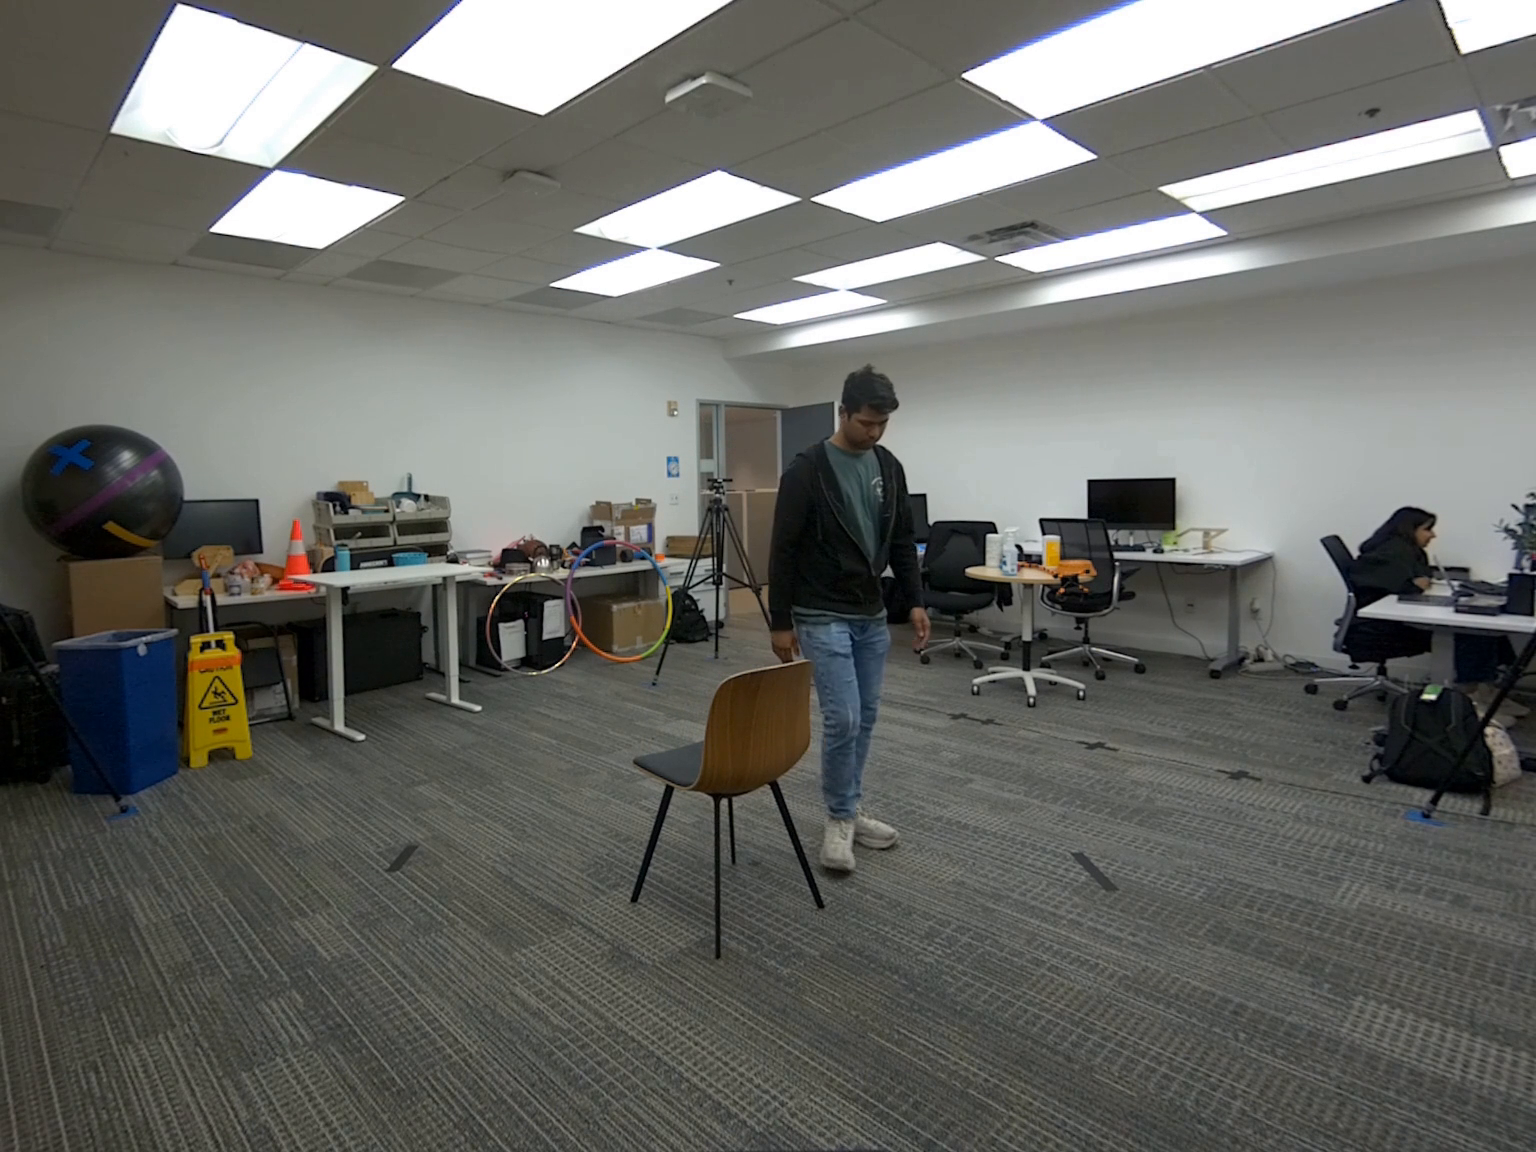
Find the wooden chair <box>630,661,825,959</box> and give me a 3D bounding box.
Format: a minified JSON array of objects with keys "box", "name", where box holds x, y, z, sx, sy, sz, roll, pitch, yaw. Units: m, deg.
[{"box":[-0.144,0.658,2.777,0.466,0.871,0.541,-5,10,-41],"name":"wooden chair"}]
